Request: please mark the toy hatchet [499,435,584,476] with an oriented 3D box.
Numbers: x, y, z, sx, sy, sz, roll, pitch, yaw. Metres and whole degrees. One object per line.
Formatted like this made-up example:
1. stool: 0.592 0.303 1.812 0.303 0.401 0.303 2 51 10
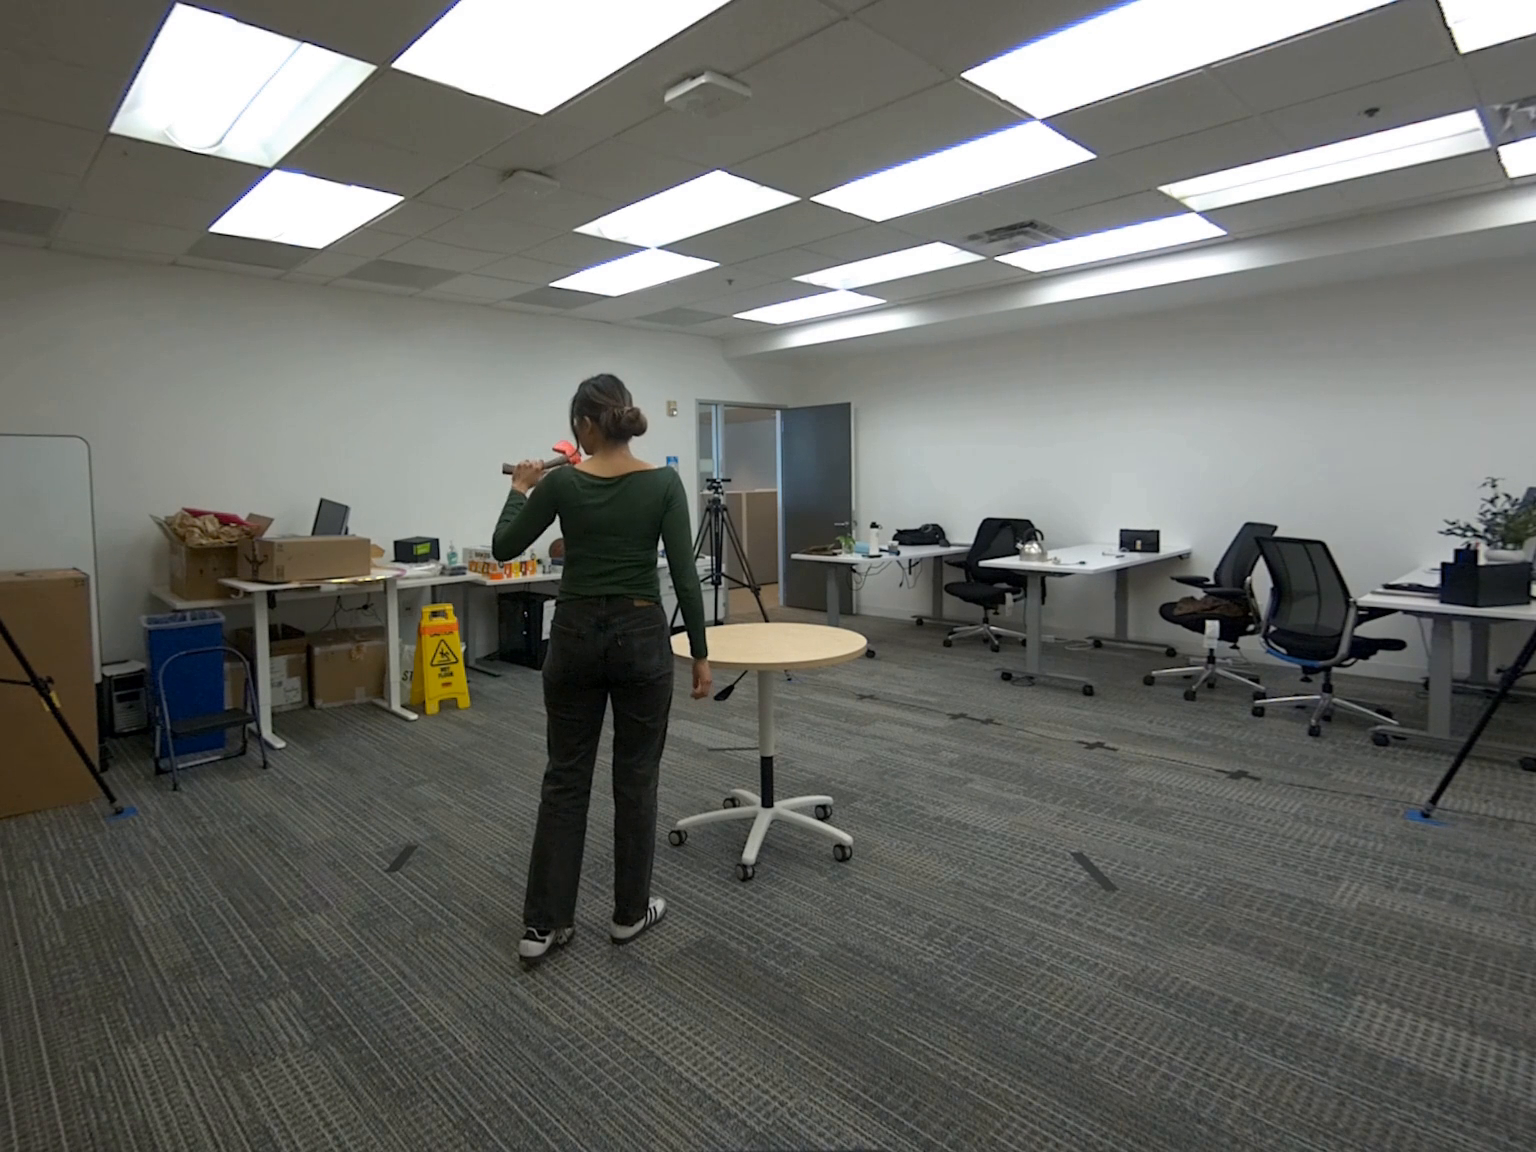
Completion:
1. toy hatchet: -0.744 -0.400 2.835 0.264 0.134 0.029 -3 -22 -25
